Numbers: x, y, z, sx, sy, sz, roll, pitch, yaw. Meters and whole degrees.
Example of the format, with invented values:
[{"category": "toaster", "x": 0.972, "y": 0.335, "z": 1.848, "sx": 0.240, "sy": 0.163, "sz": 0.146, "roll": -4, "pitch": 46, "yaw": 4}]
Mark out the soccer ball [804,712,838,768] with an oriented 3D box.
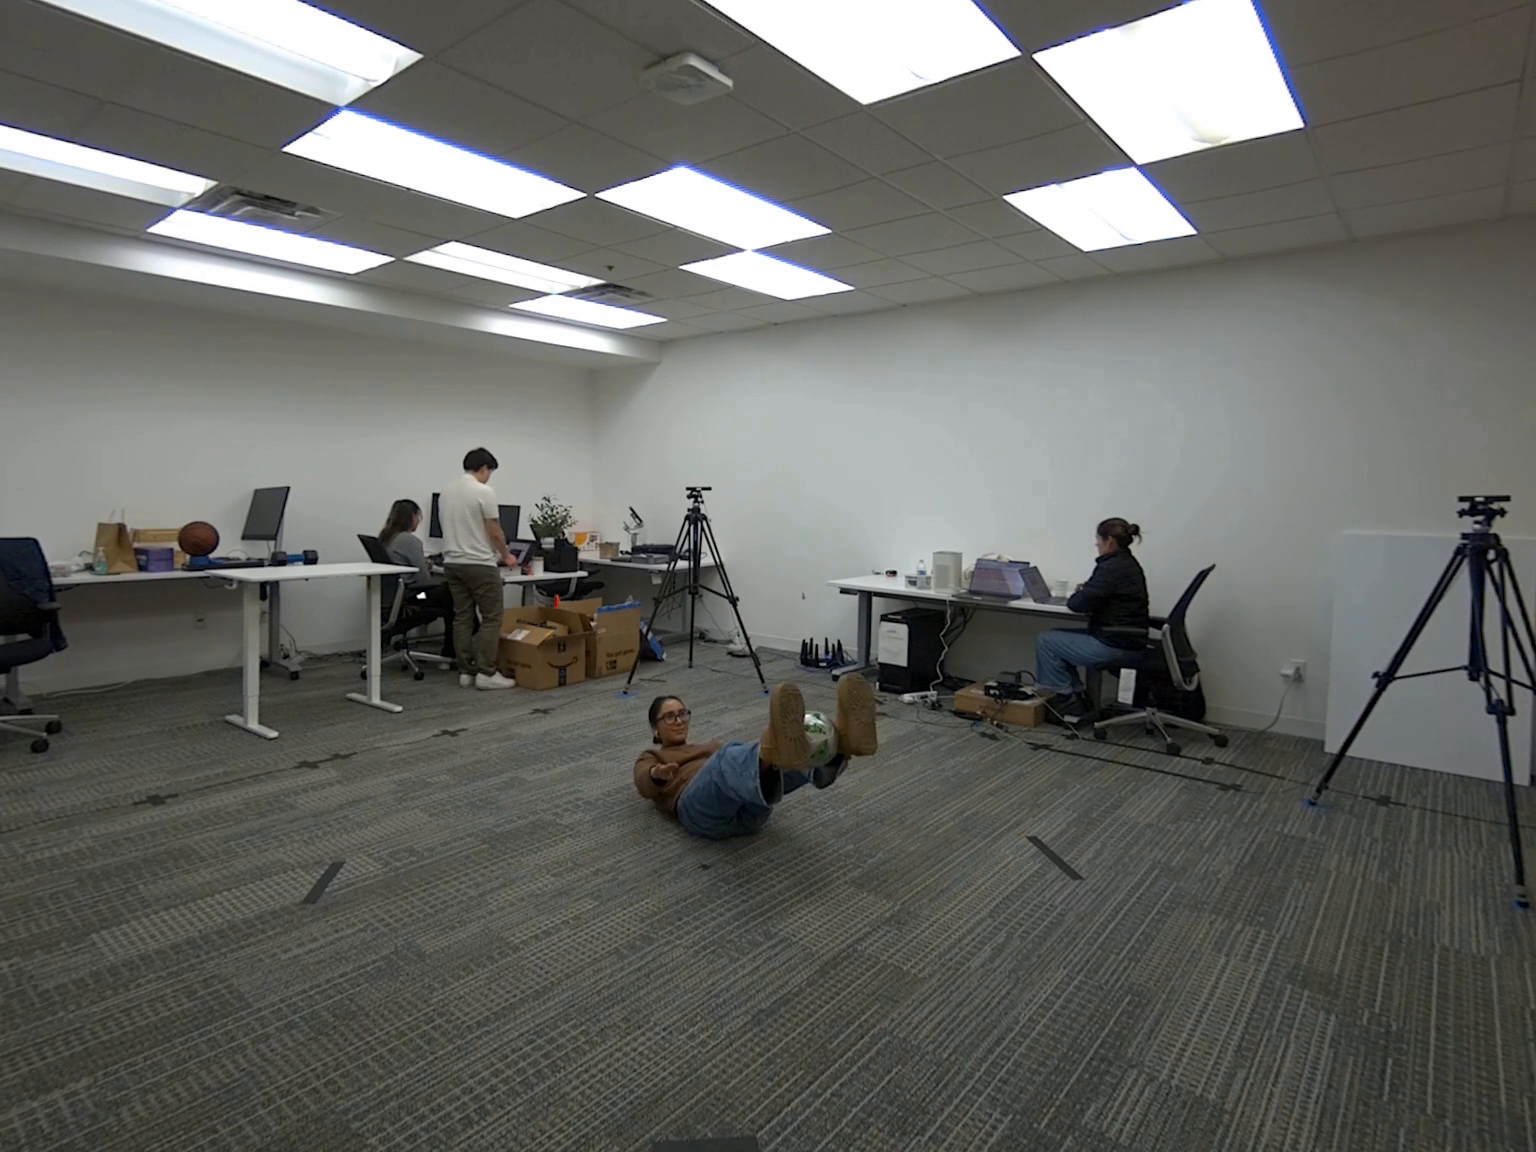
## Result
[{"category": "soccer ball", "x": 0.147, "y": 0.553, "z": 2.889, "sx": 0.187, "sy": 0.187, "sz": 0.188, "roll": 1, "pitch": 4, "yaw": -2}]
